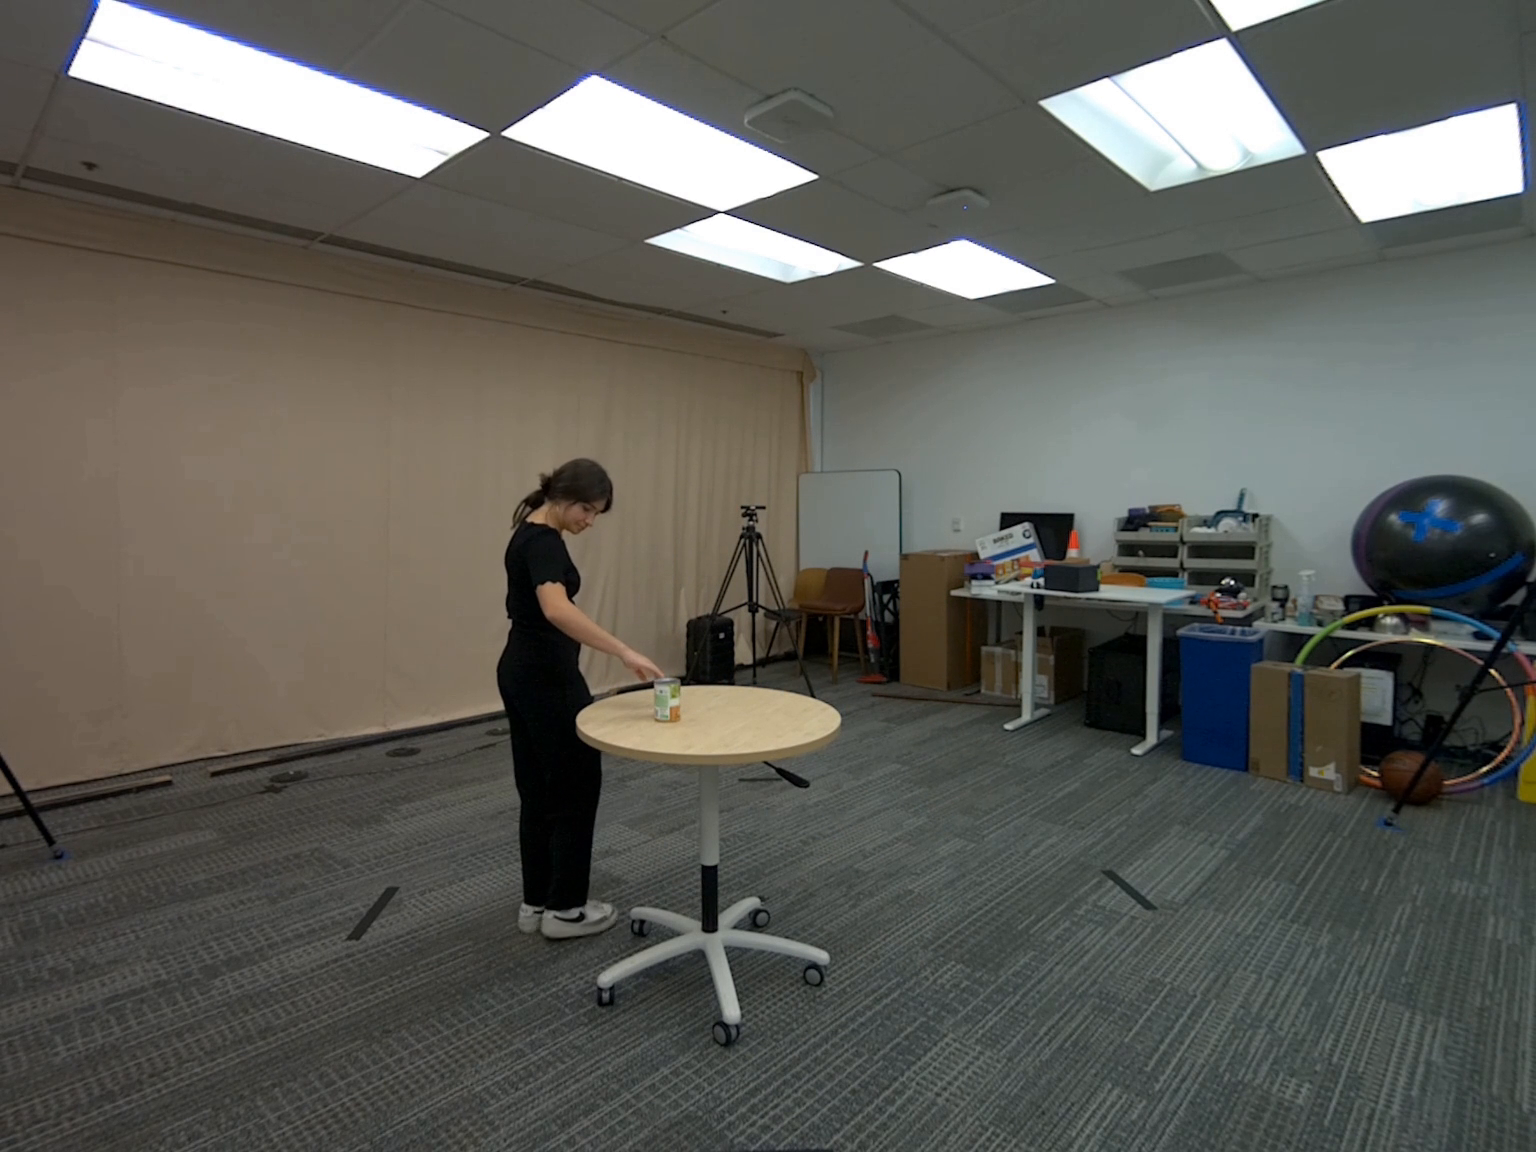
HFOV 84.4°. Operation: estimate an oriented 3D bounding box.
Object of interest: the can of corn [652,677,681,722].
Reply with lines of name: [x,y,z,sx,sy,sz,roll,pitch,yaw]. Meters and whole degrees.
can of corn: [-0.288,0.356,2.393,0.074,0.111,0.074,-2,4,-2]
